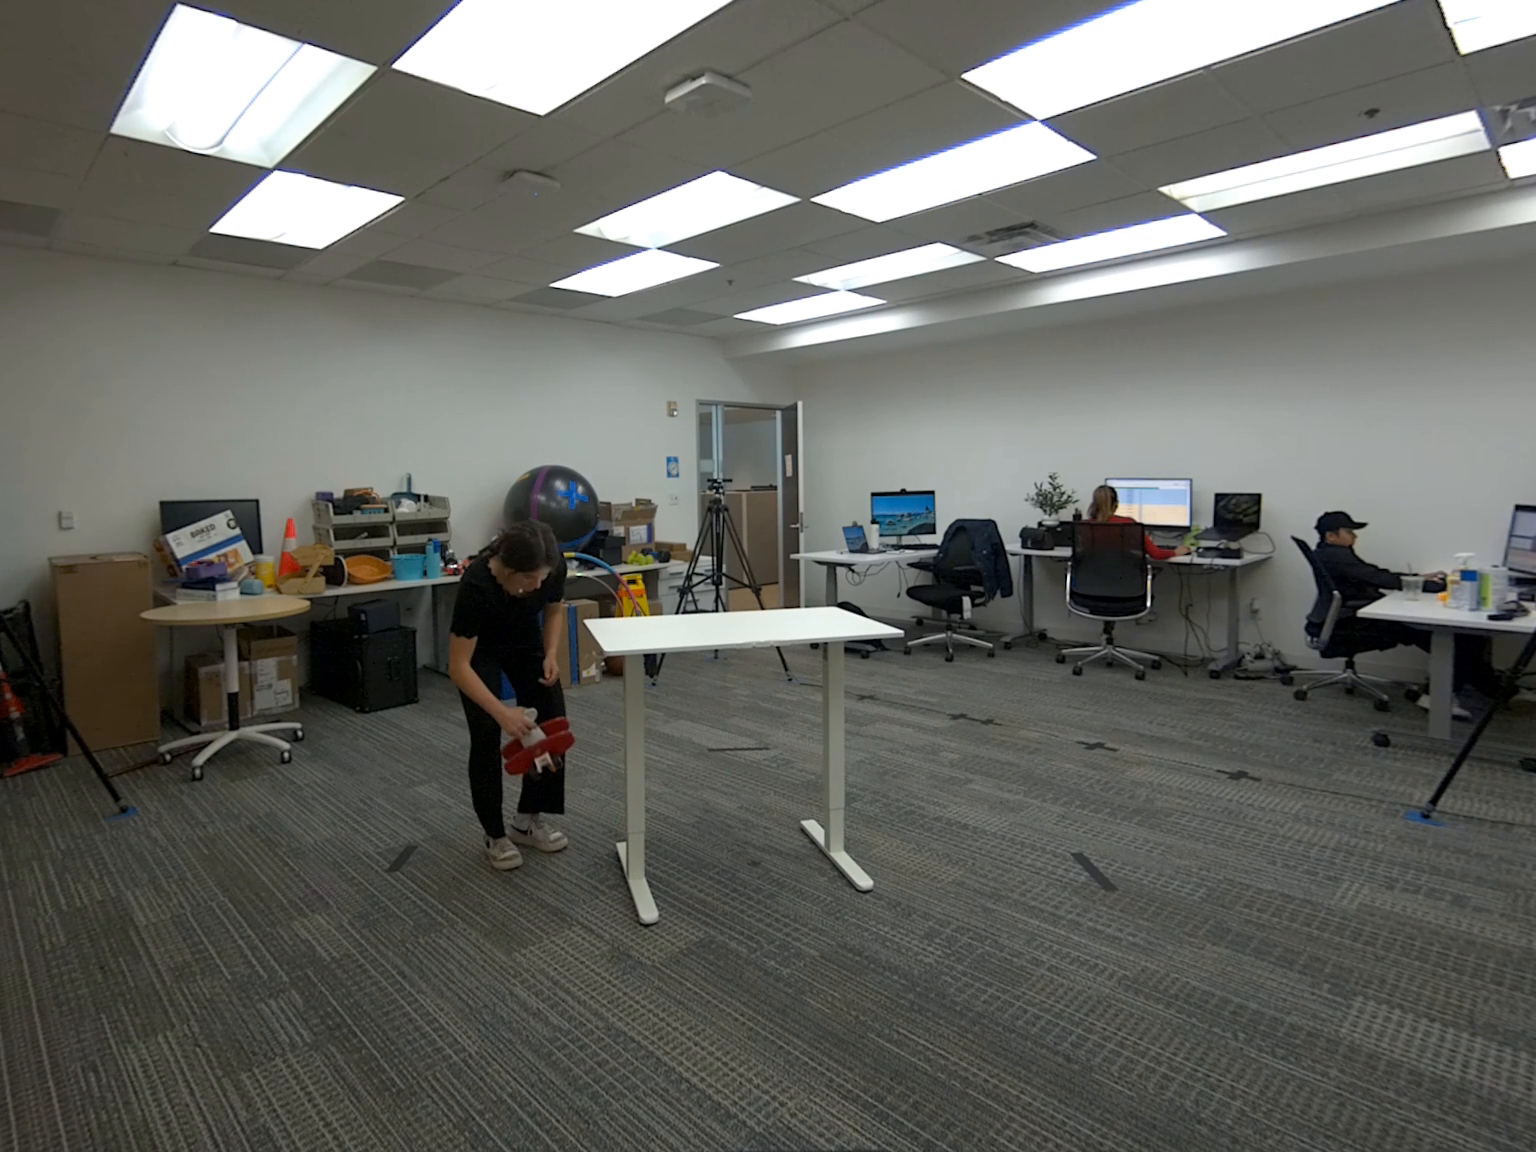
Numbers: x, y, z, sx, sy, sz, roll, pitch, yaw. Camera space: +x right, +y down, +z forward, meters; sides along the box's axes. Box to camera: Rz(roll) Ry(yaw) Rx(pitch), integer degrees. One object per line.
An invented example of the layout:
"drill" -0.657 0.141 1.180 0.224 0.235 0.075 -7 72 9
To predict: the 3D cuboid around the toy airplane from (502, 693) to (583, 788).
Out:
"toy airplane" -0.797 0.570 2.999 0.246 0.256 0.161 0 15 -20
